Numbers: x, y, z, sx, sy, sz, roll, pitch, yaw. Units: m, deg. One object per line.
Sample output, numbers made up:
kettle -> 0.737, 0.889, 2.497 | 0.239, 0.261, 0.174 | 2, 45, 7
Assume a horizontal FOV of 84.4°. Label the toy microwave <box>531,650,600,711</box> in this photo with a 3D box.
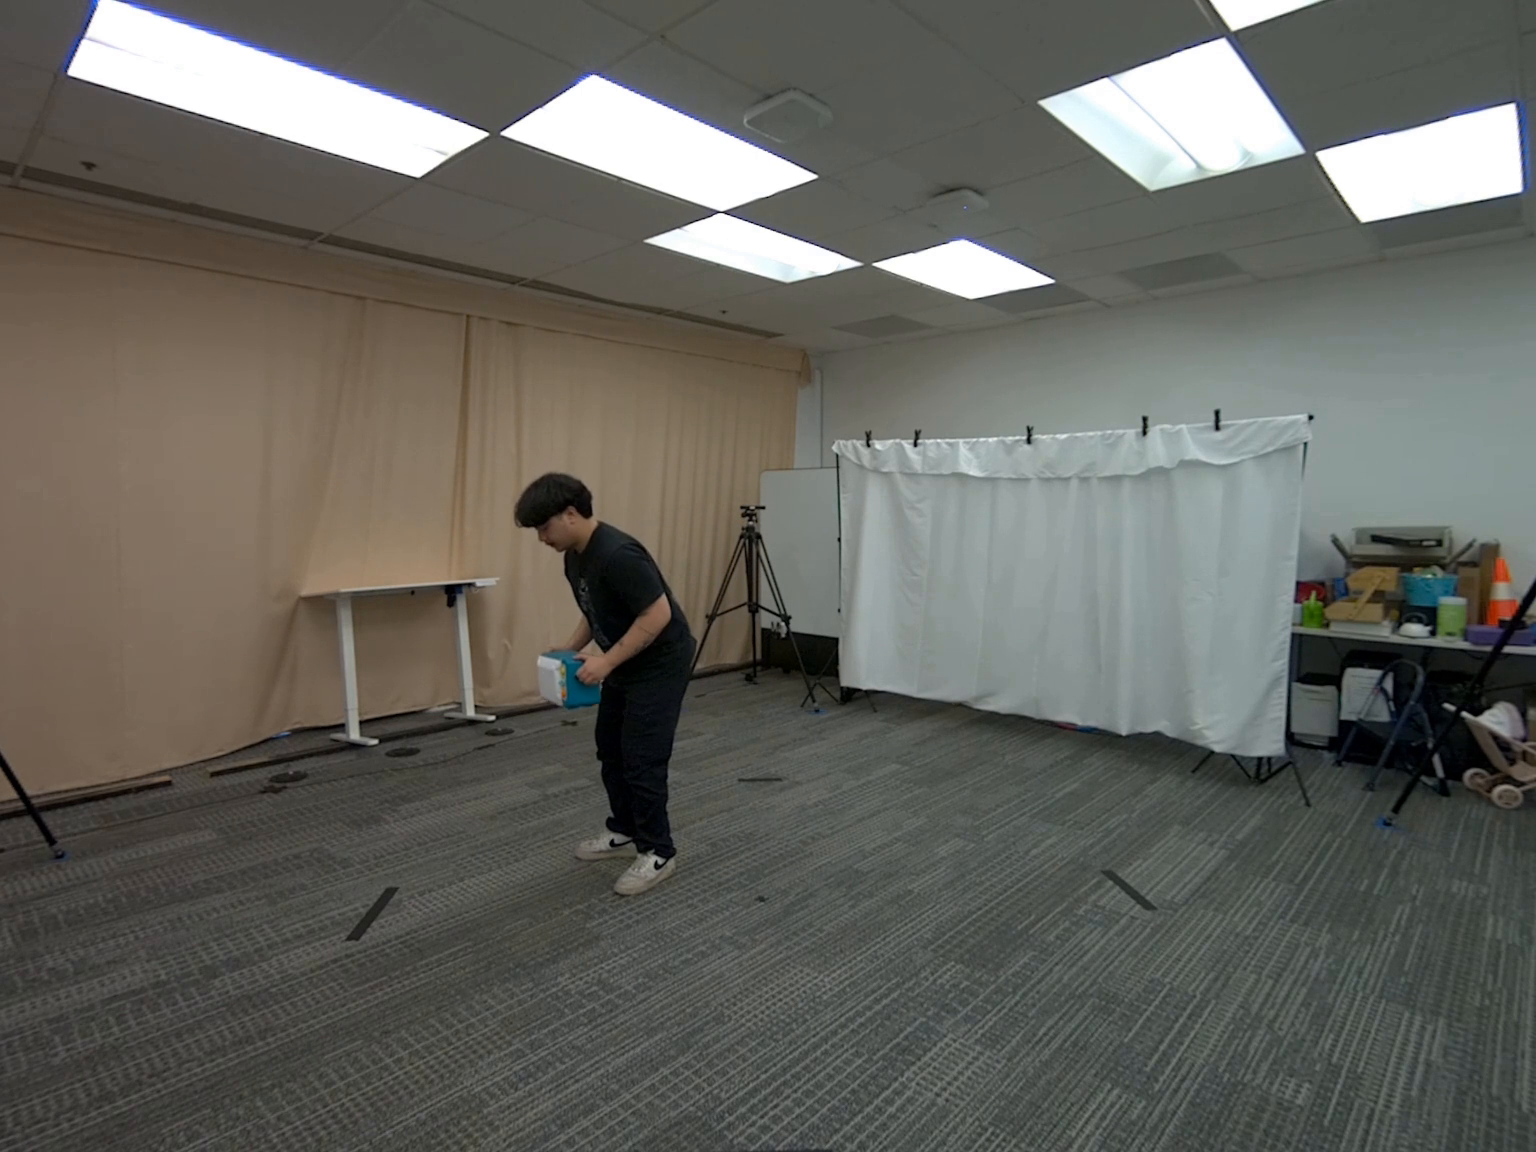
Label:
toy microwave -> -0.741, 0.372, 3.097 | 0.148, 0.184, 0.294 | 0, -1, -34
